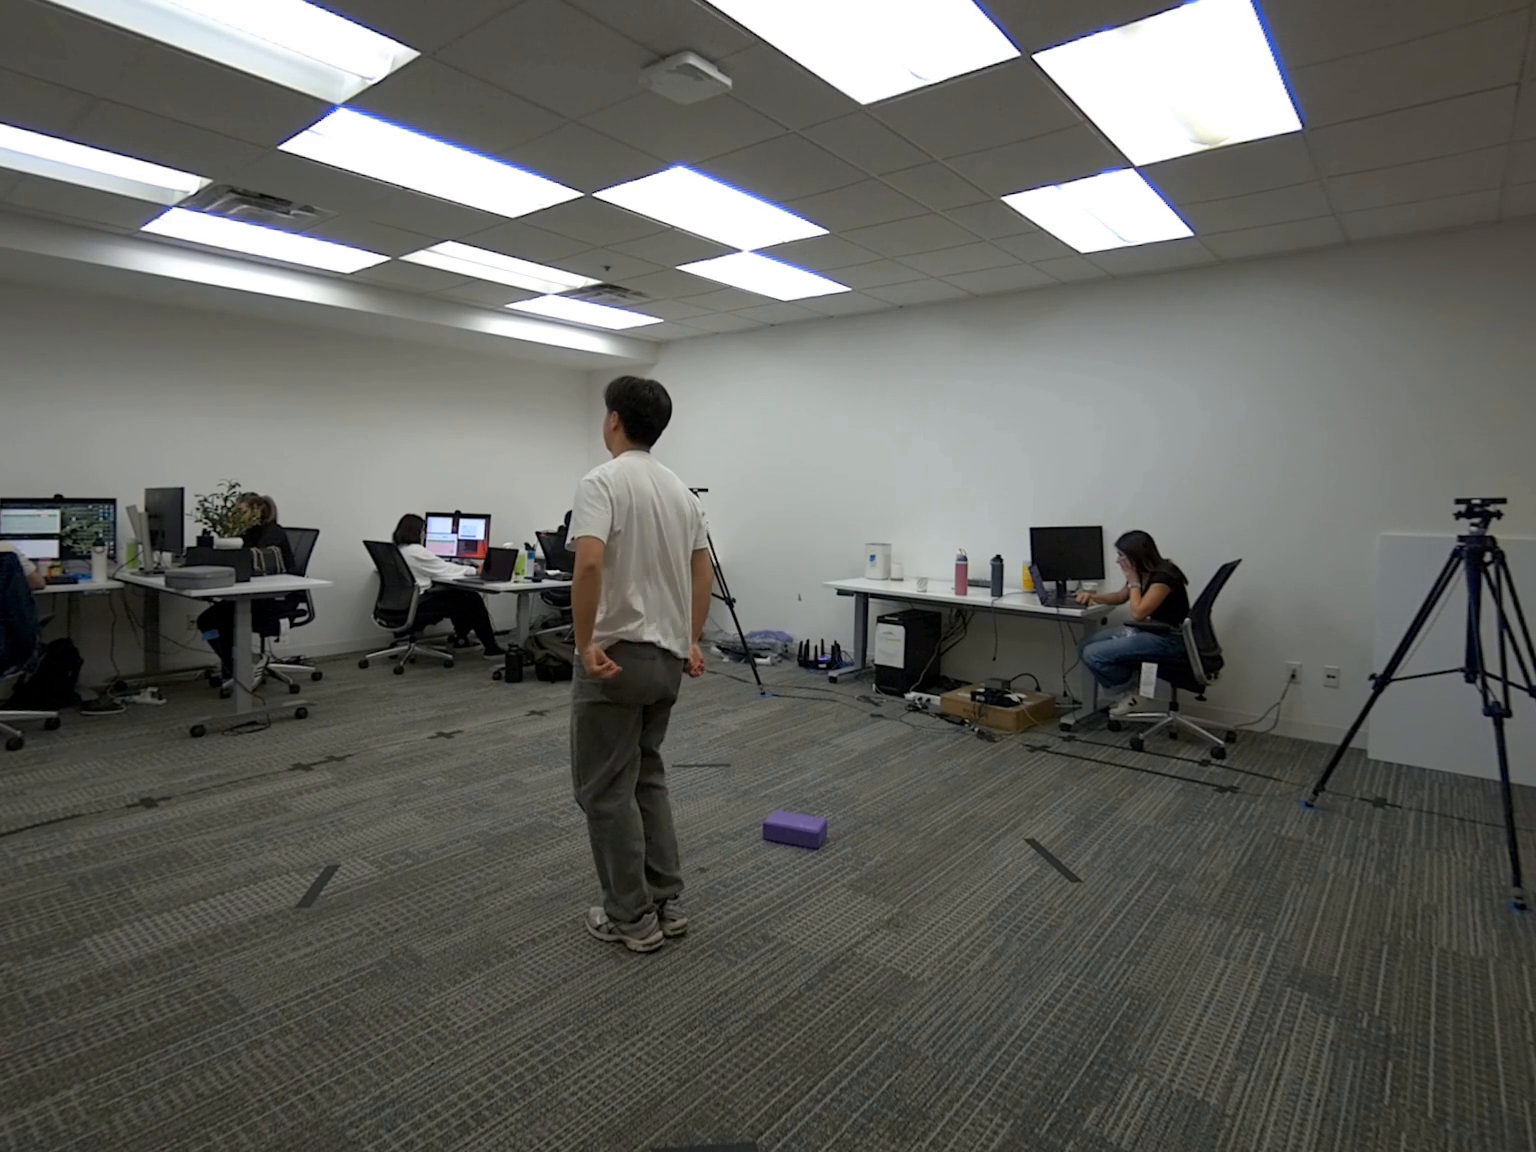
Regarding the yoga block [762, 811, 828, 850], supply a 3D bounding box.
[{"bbox_3d":[0.111,1.003,3.404,0.234,0.076,0.146,3,6,21],"label":"yoga block"}]
